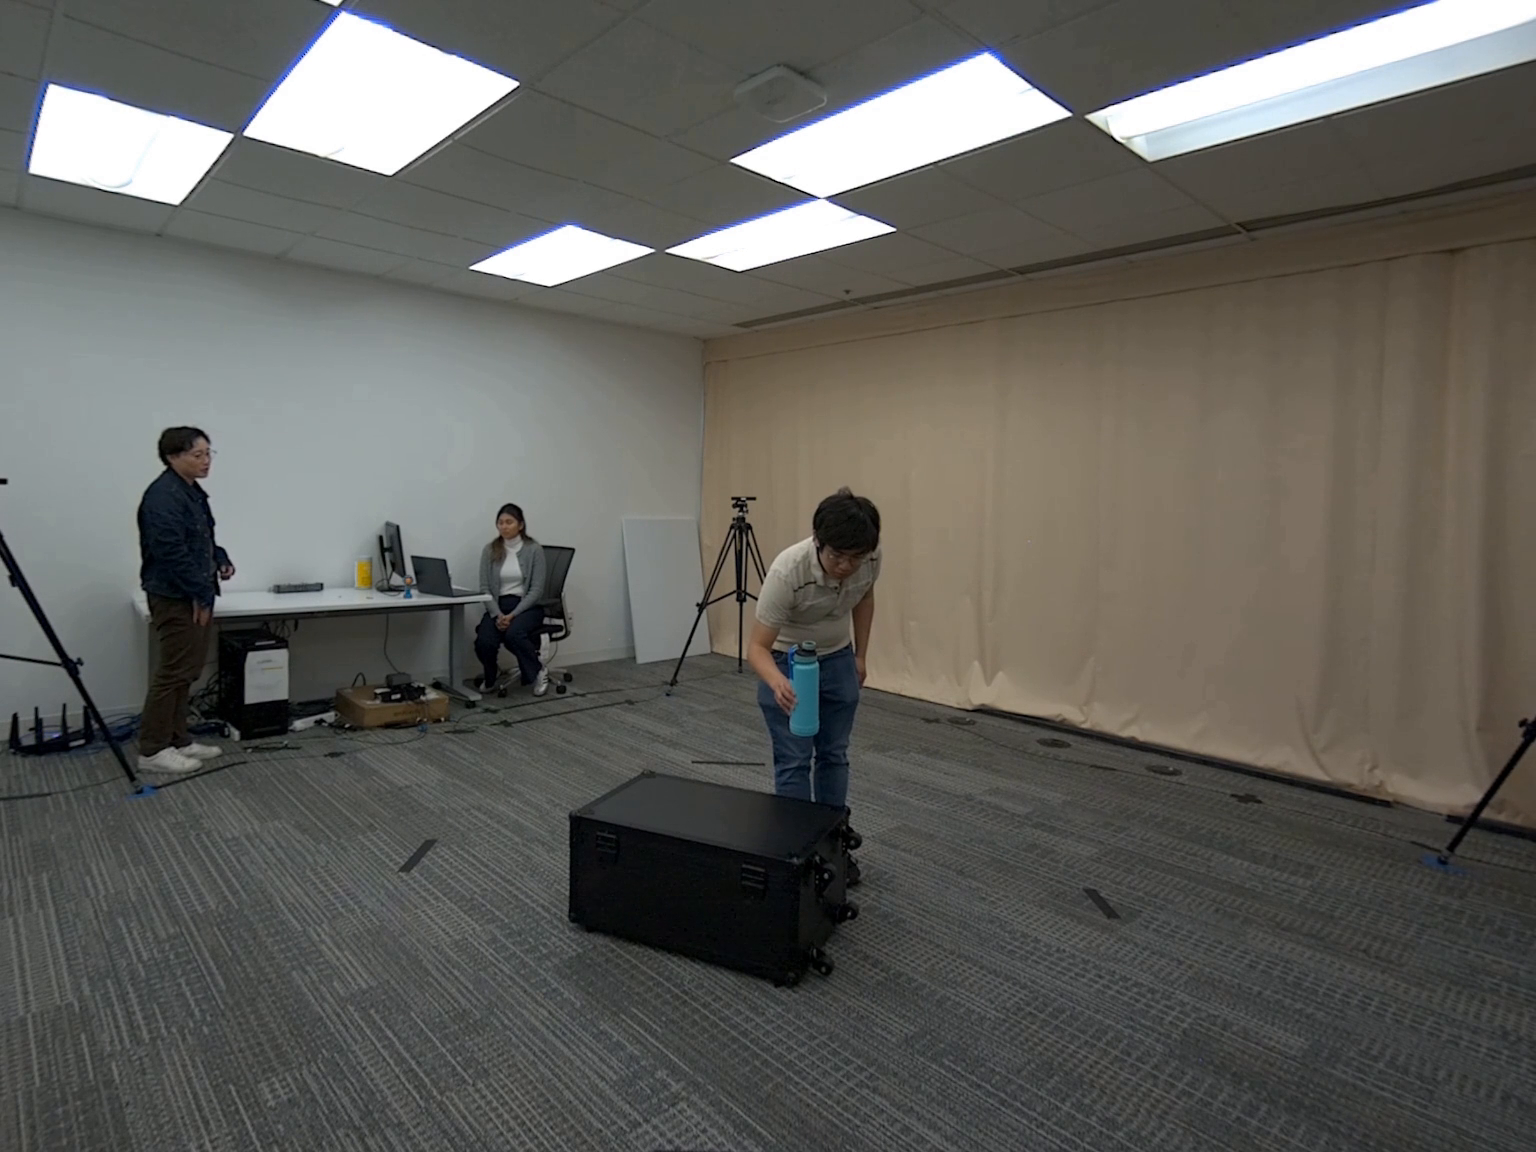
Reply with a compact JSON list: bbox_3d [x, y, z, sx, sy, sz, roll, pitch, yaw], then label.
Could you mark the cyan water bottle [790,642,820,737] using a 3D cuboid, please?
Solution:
[{"bbox_3d":[0.098,0.345,2.571,0.092,0.280,0.093,-3,13,-1],"label":"cyan water bottle"}]
